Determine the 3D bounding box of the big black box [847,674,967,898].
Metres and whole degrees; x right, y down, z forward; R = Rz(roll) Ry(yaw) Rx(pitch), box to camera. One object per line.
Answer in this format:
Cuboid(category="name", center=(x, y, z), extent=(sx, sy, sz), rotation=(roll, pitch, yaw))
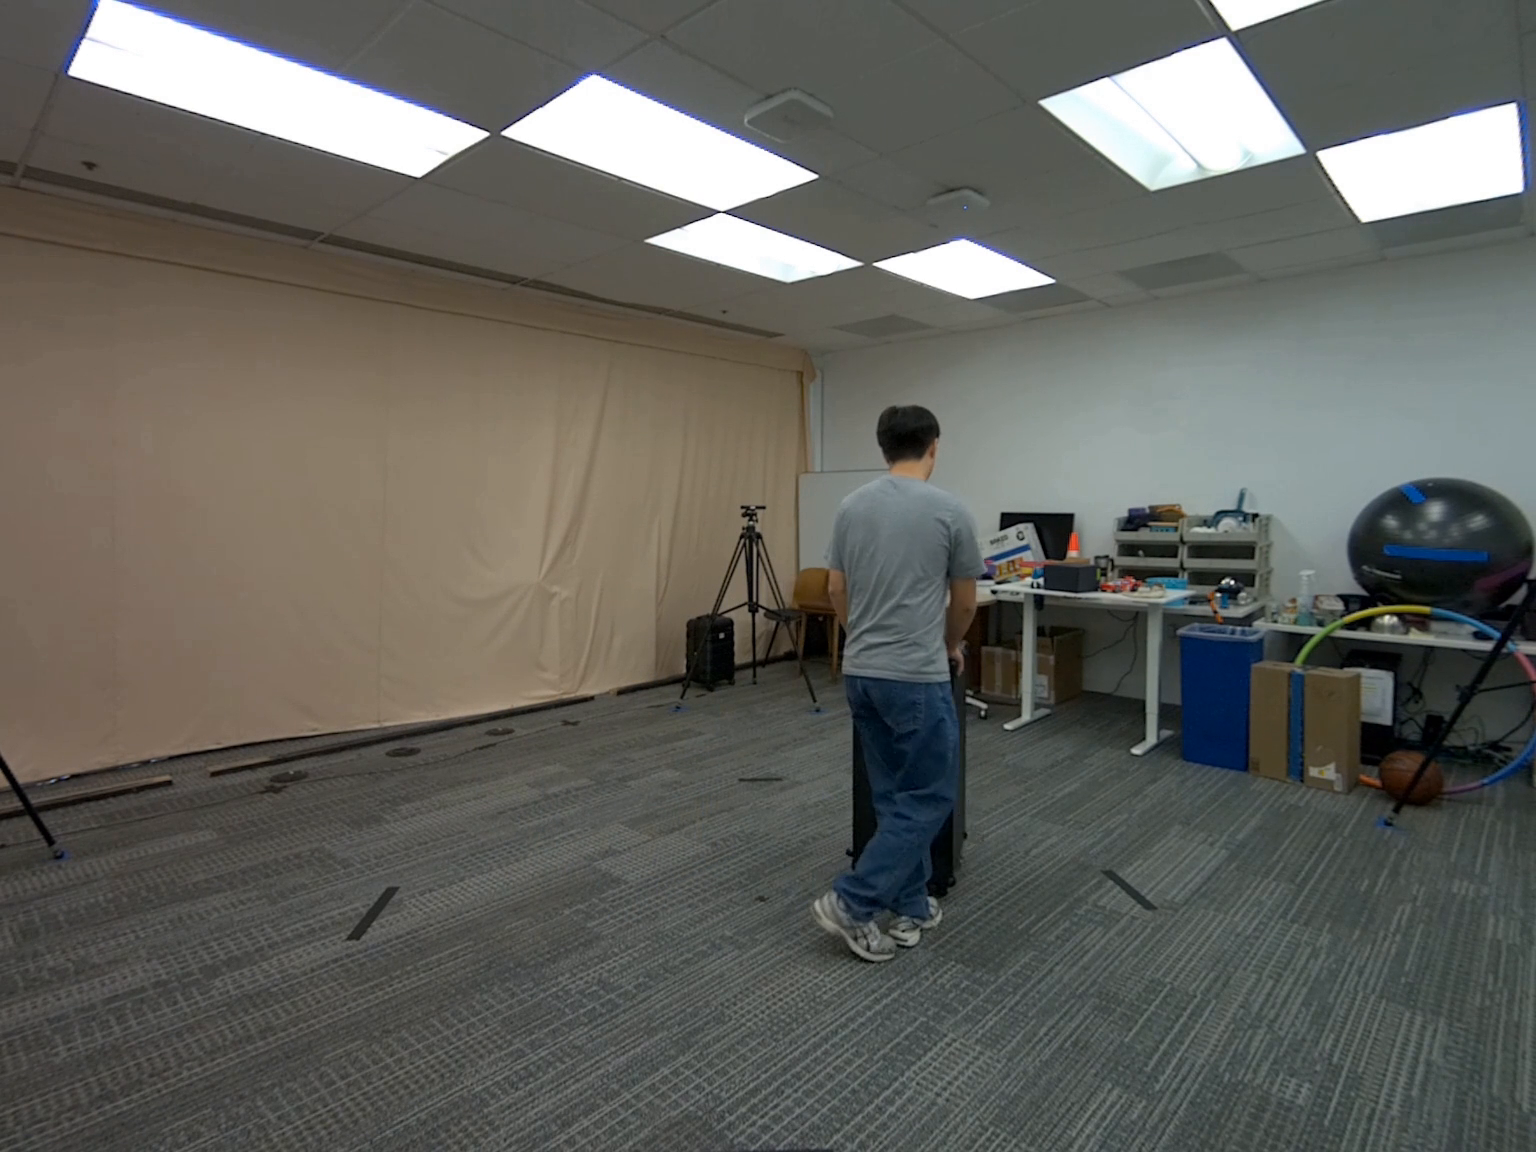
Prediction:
Cuboid(category="big black box", center=(0.541, 0.706, 3.181), extent=(0.405, 0.860, 0.511), rotation=(0, 3, 20))
